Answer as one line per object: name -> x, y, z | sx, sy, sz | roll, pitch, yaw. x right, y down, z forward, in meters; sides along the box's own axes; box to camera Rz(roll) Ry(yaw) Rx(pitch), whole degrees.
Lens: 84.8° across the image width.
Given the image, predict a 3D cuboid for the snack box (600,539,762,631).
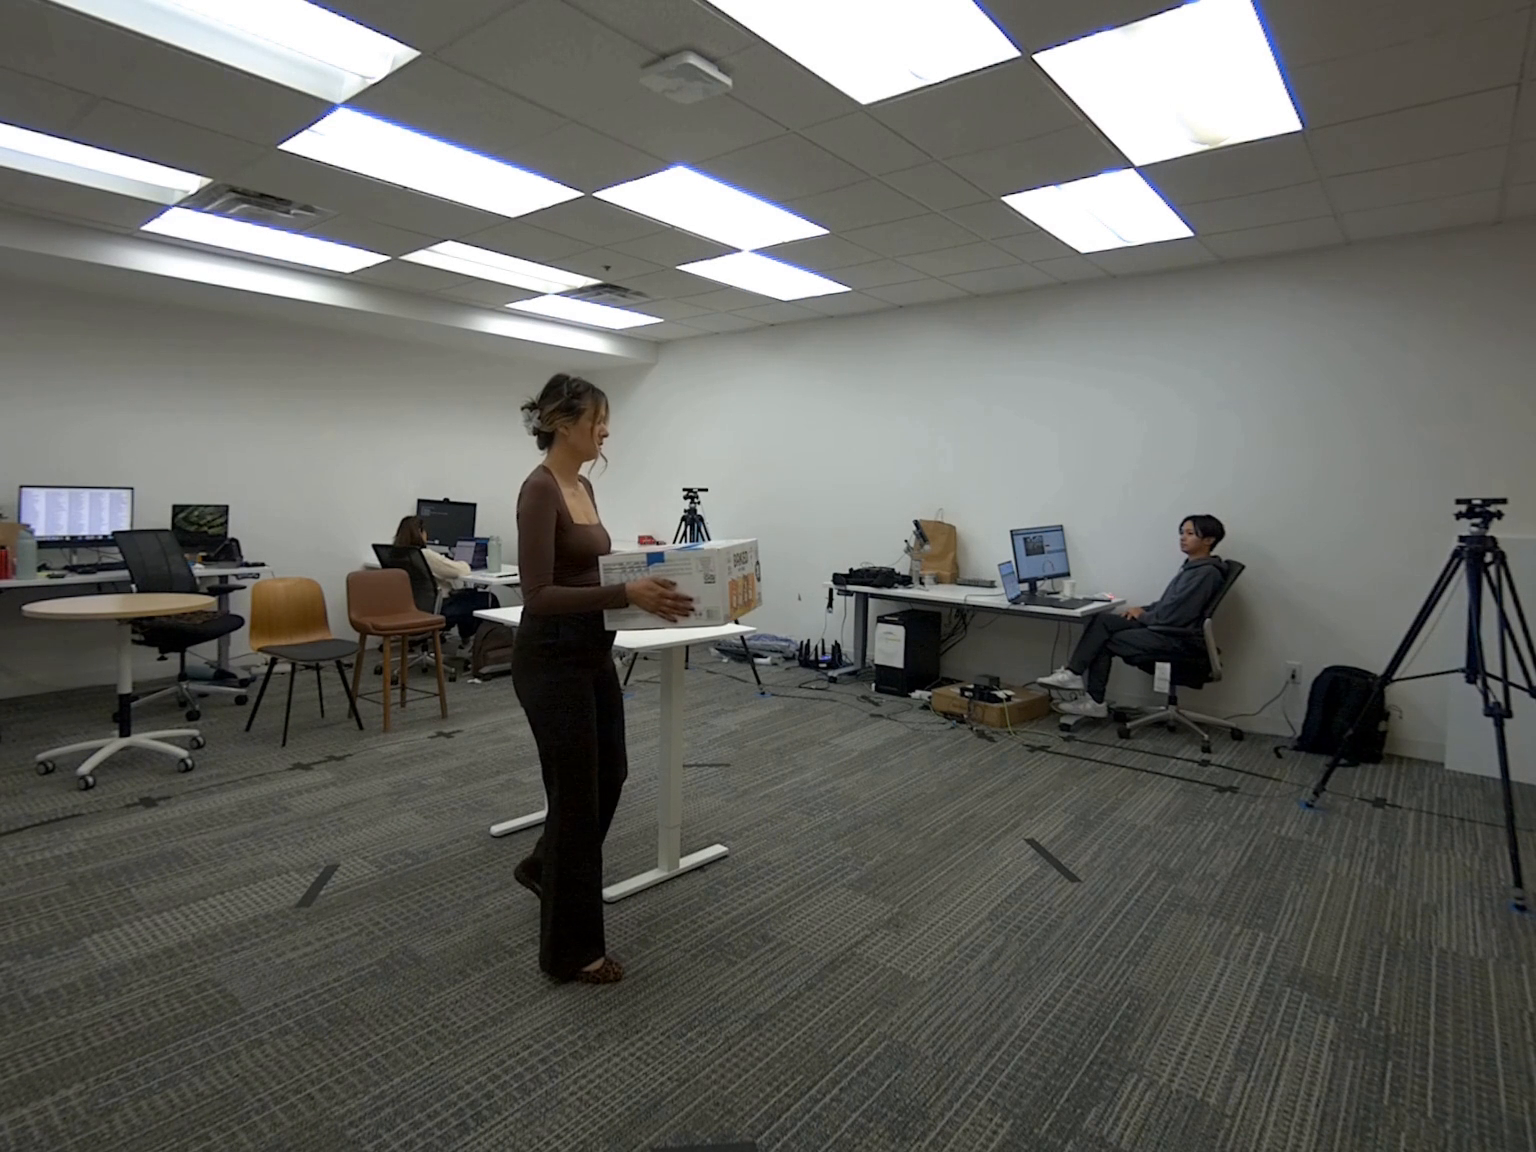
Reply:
snack box -> -0.243, 0.019, 2.412 | 0.346, 0.205, 0.400 | -4, 4, 16
